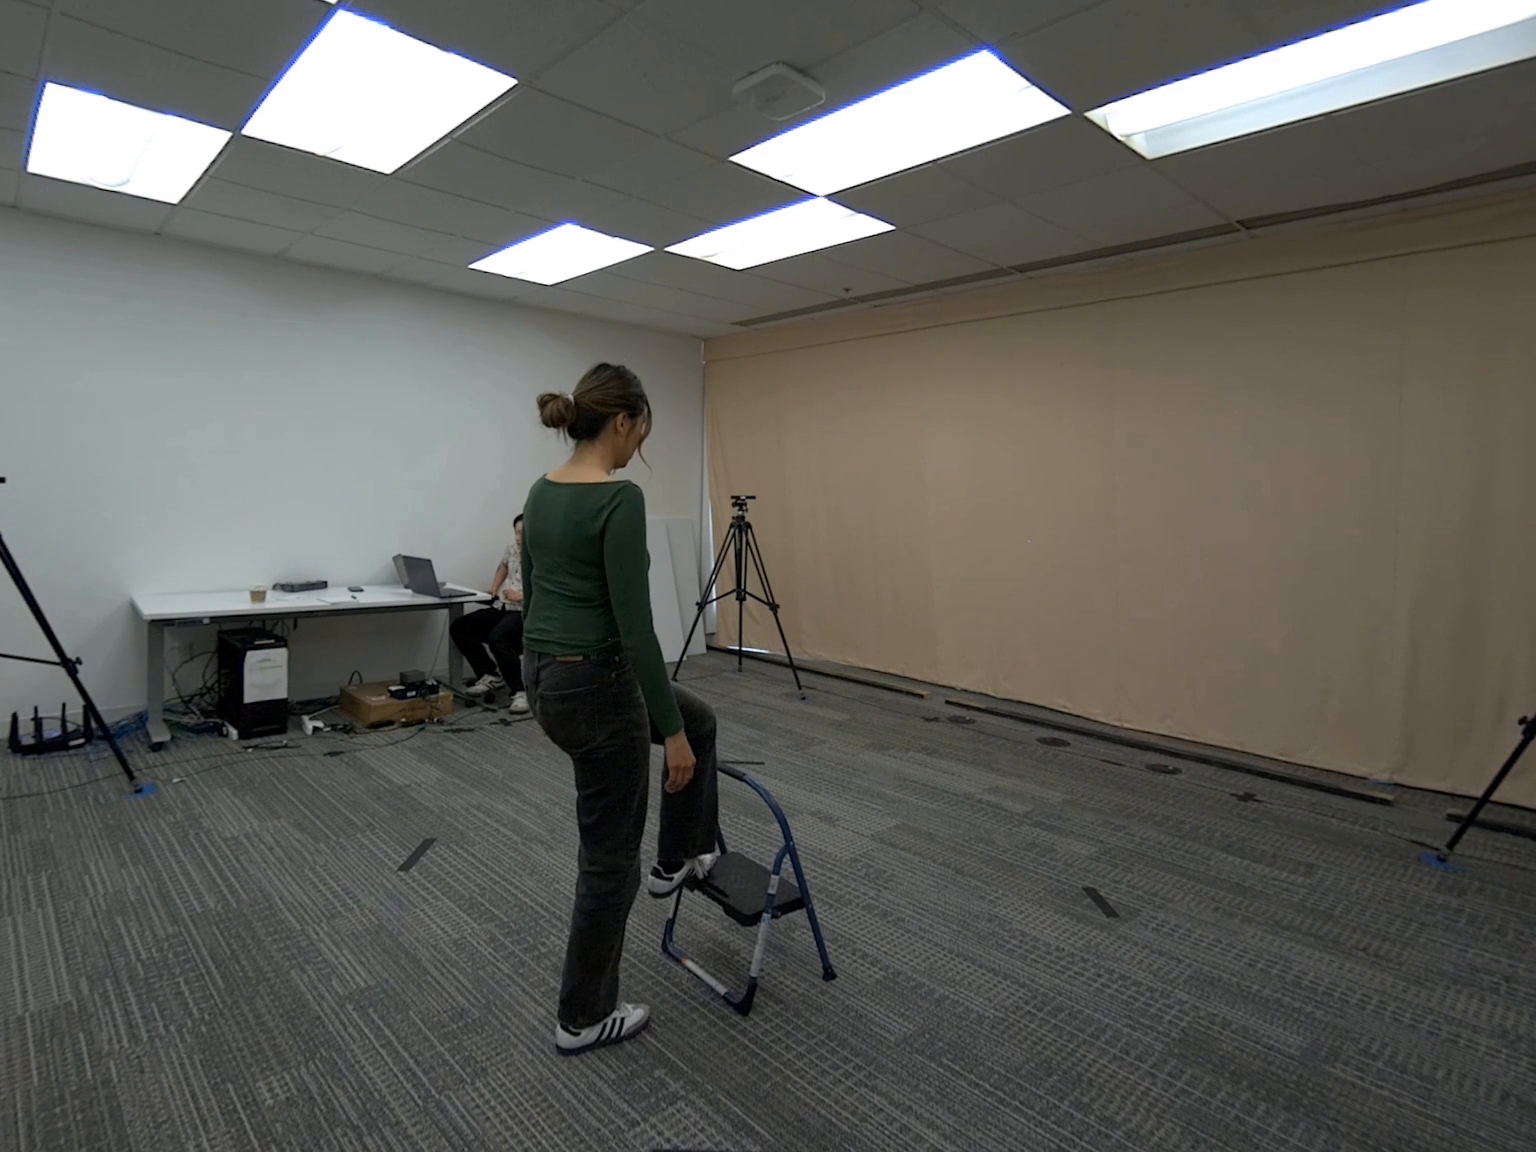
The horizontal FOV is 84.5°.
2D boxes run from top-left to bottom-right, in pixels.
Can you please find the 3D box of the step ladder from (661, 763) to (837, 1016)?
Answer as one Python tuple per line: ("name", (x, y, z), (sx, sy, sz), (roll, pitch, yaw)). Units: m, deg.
("step ladder", (-0.061, 0.857, 2.498), (0.341, 0.604, 0.441), (-2, 5, -40))
